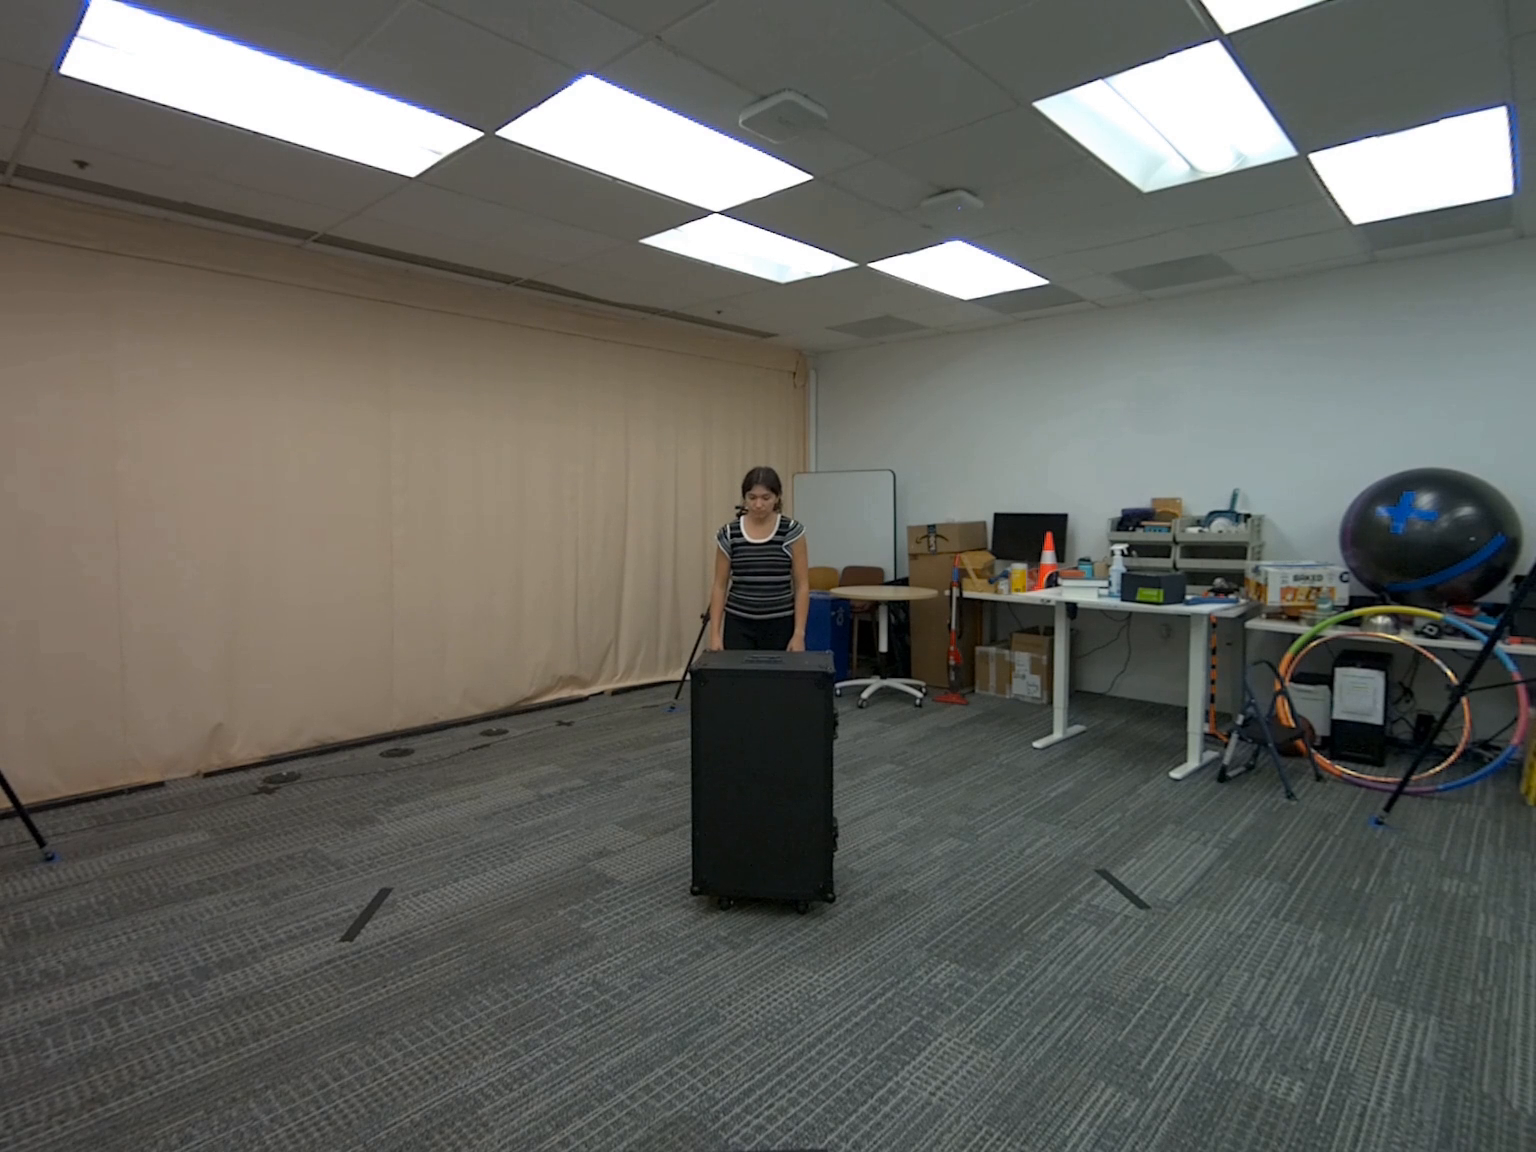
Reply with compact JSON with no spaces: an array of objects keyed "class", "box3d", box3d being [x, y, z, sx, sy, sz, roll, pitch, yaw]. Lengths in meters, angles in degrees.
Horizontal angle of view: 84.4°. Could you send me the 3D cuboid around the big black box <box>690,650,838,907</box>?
[{"class":"big black box","box3d":[-0.013,0.712,3.002,0.526,0.860,0.394,0,3,7]}]
